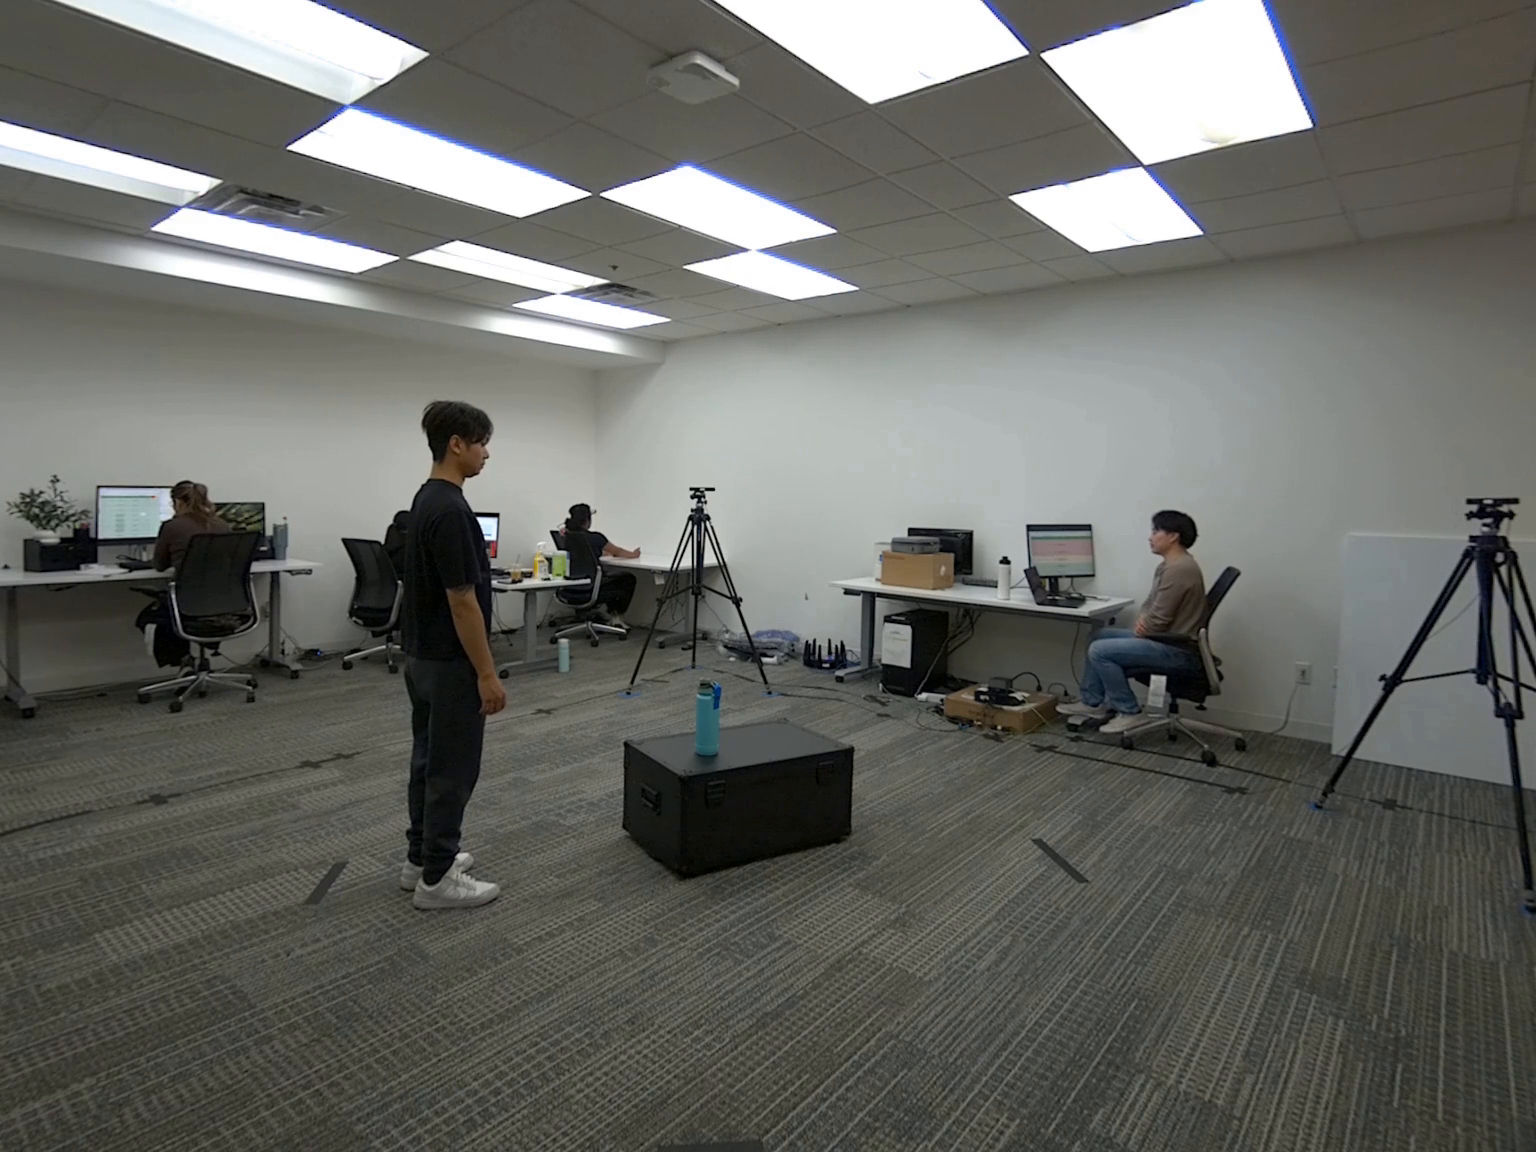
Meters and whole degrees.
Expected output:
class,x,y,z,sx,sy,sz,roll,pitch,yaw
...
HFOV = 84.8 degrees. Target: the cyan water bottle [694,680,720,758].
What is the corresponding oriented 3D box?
class,x,y,z,sx,sy,sz,roll,pitch,yaw
cyan water bottle,-0.247,0.530,3.268,0.092,0.282,0.093,2,4,-2
